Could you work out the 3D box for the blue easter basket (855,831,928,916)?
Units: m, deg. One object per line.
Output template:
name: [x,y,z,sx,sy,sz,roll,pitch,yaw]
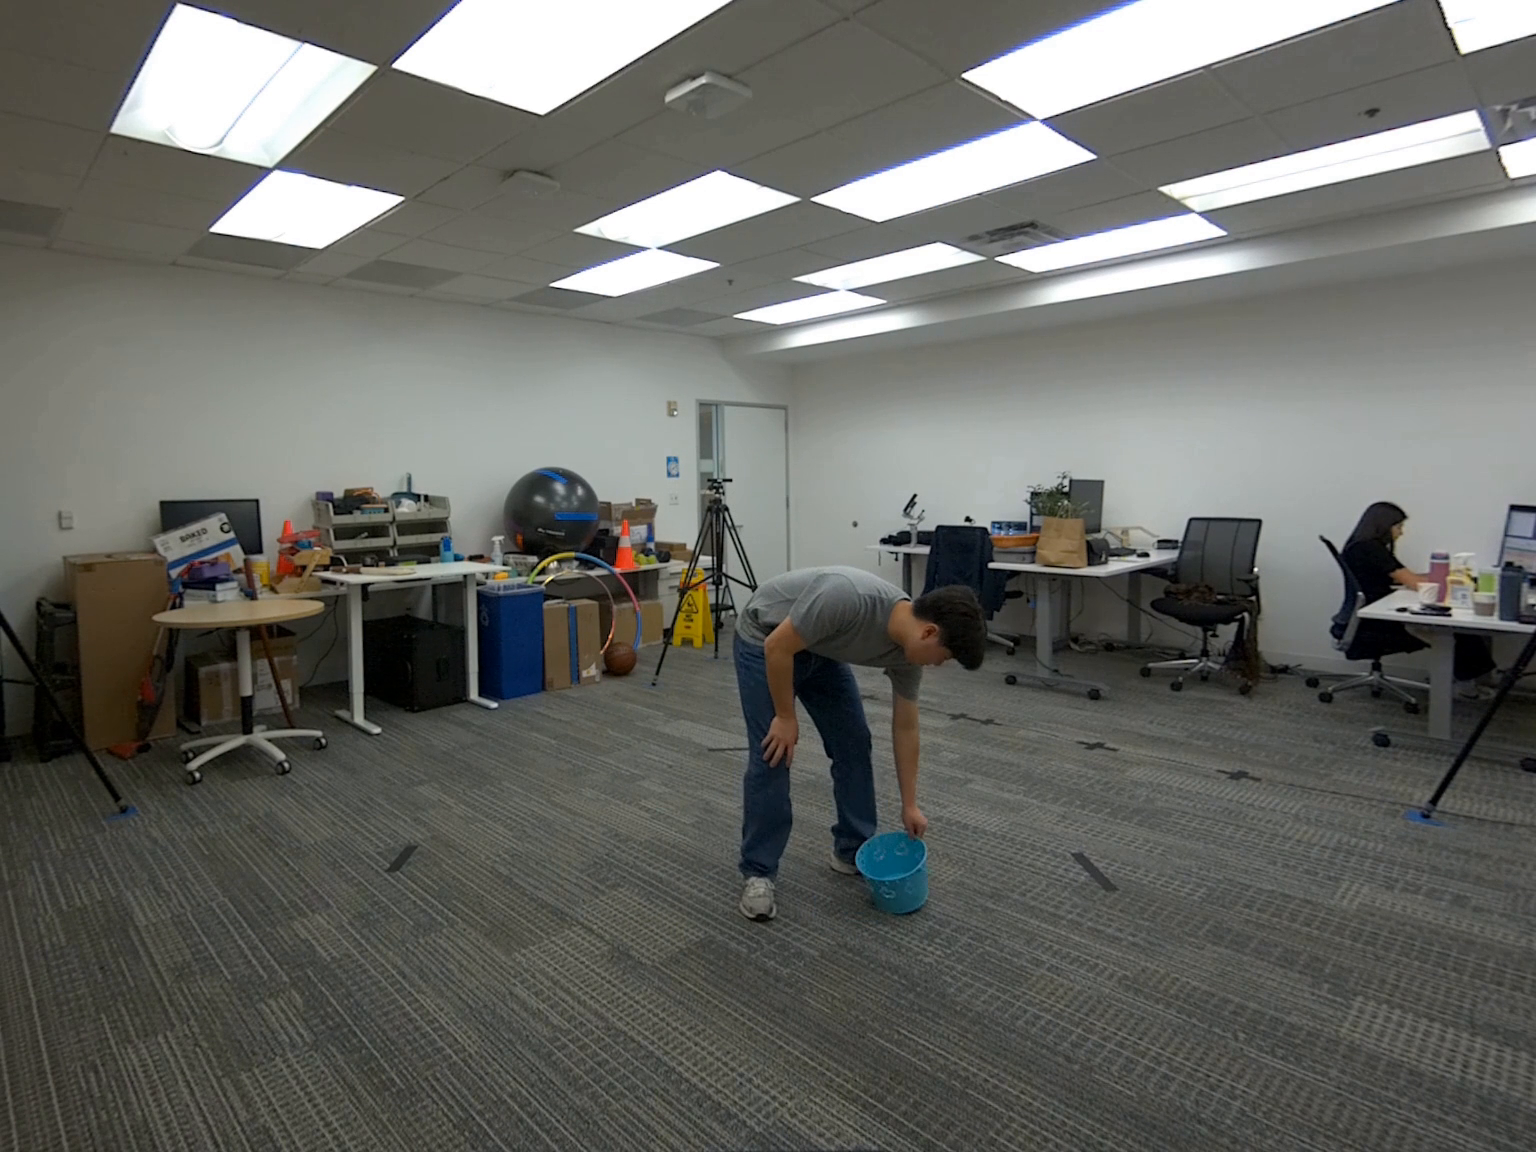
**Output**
blue easter basket: [0.415,0.970,2.780,0.244,0.153,0.247,-15,15,2]
